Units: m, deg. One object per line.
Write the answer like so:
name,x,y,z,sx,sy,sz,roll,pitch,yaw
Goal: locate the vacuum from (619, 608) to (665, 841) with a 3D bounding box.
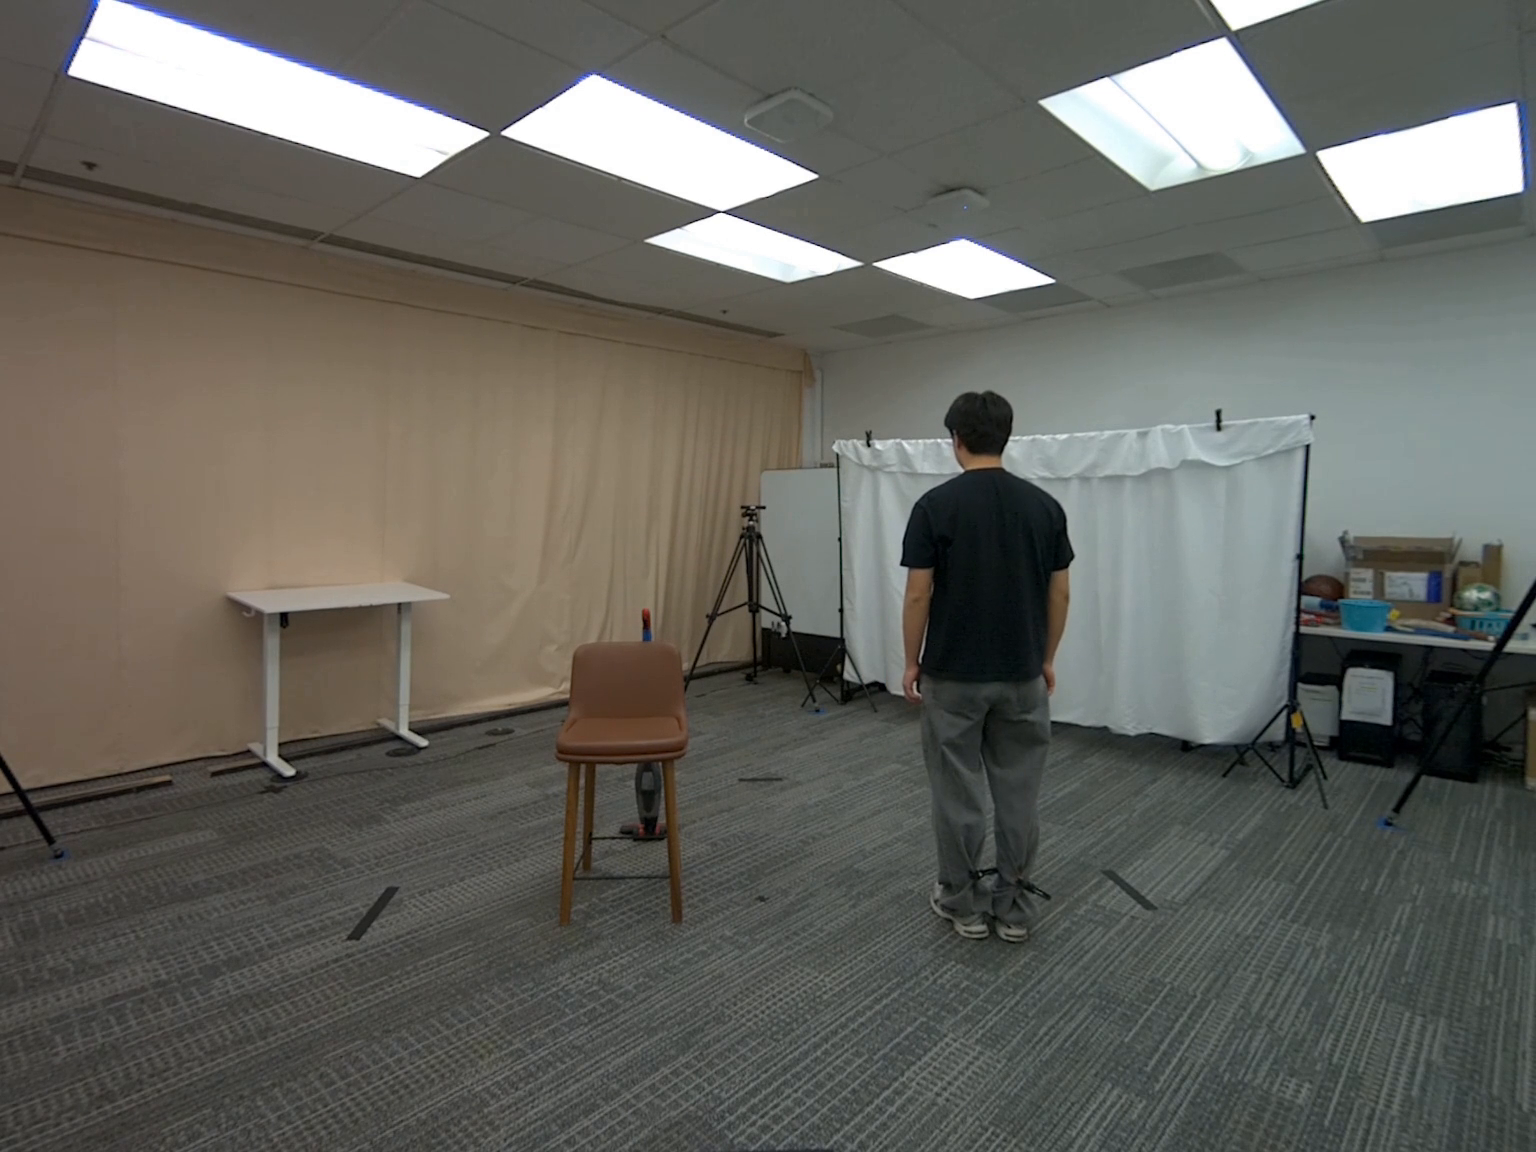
vacuum,-0.481,0.611,3.391,0.249,1.038,0.147,-2,21,-14
